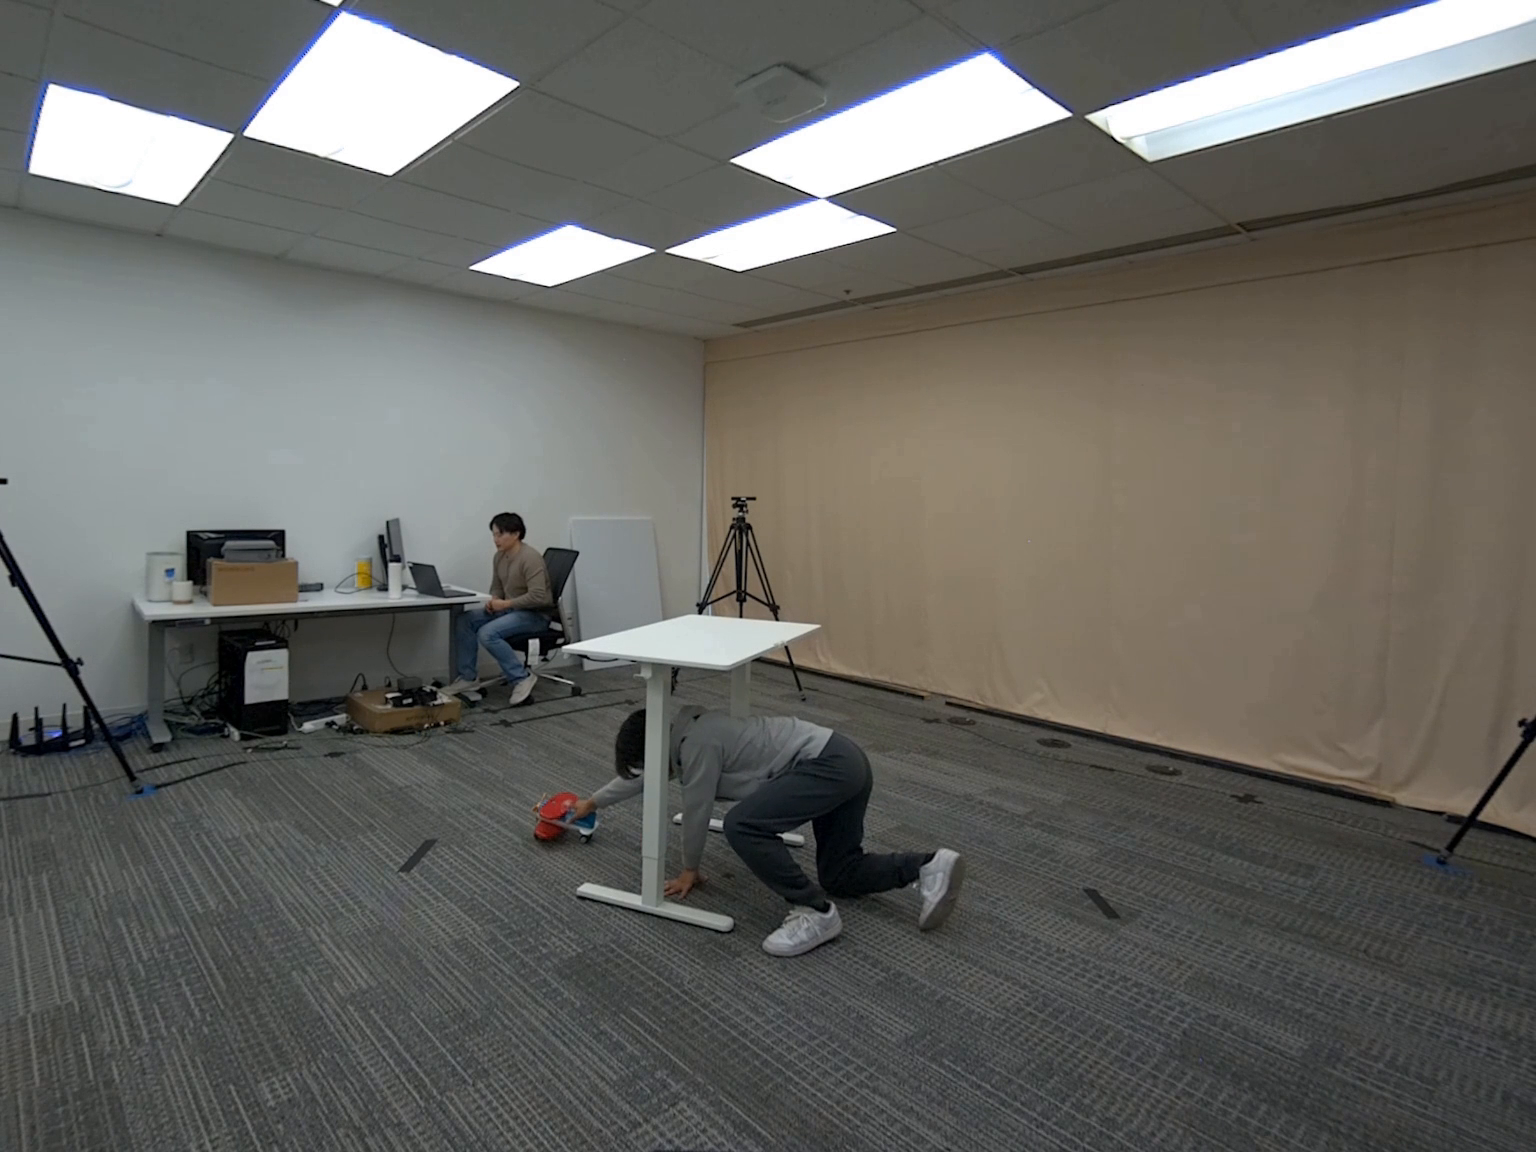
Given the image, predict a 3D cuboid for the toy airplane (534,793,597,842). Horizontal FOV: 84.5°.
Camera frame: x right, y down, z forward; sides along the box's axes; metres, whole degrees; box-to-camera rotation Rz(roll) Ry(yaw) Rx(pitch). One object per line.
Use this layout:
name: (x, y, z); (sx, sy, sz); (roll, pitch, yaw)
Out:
toy airplane: (-0.831, 0.993, 3.425); (0.256, 0.156, 0.255); (-1, 5, -16)
